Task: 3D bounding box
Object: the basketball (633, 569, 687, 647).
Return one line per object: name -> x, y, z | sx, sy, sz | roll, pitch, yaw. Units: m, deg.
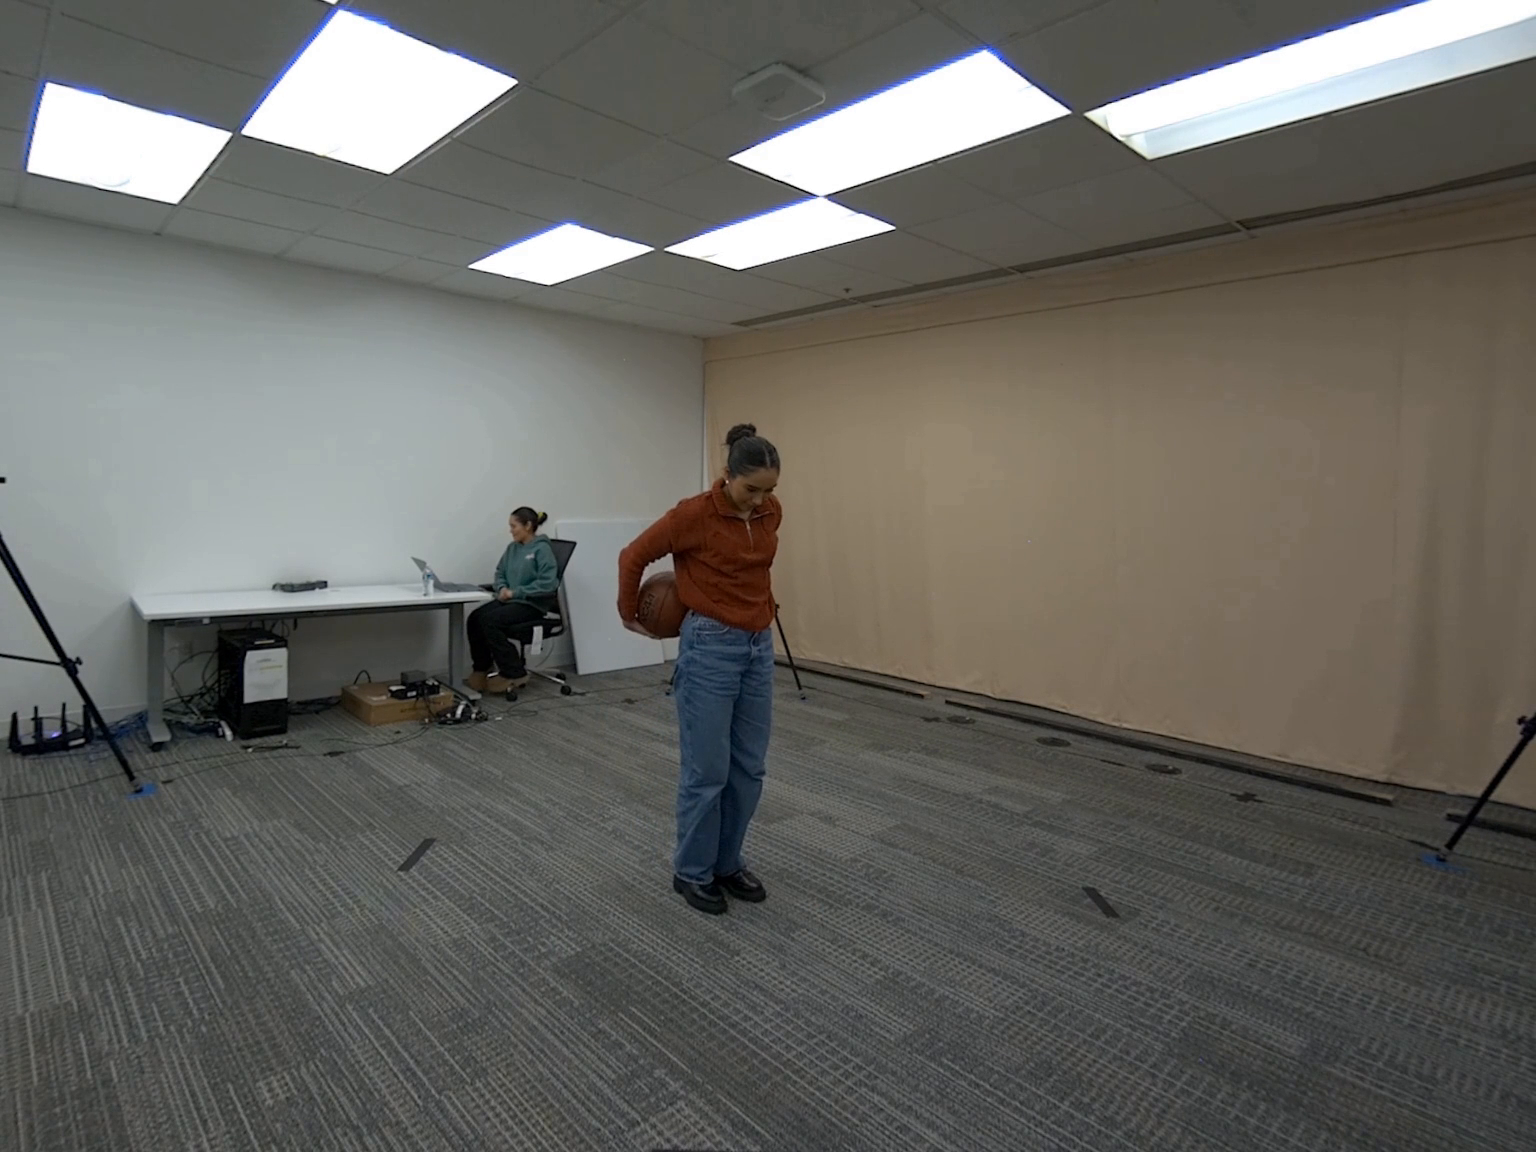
basketball -> -0.339, 0.105, 2.966 | 0.236, 0.235, 0.237 | 1, 4, -1
